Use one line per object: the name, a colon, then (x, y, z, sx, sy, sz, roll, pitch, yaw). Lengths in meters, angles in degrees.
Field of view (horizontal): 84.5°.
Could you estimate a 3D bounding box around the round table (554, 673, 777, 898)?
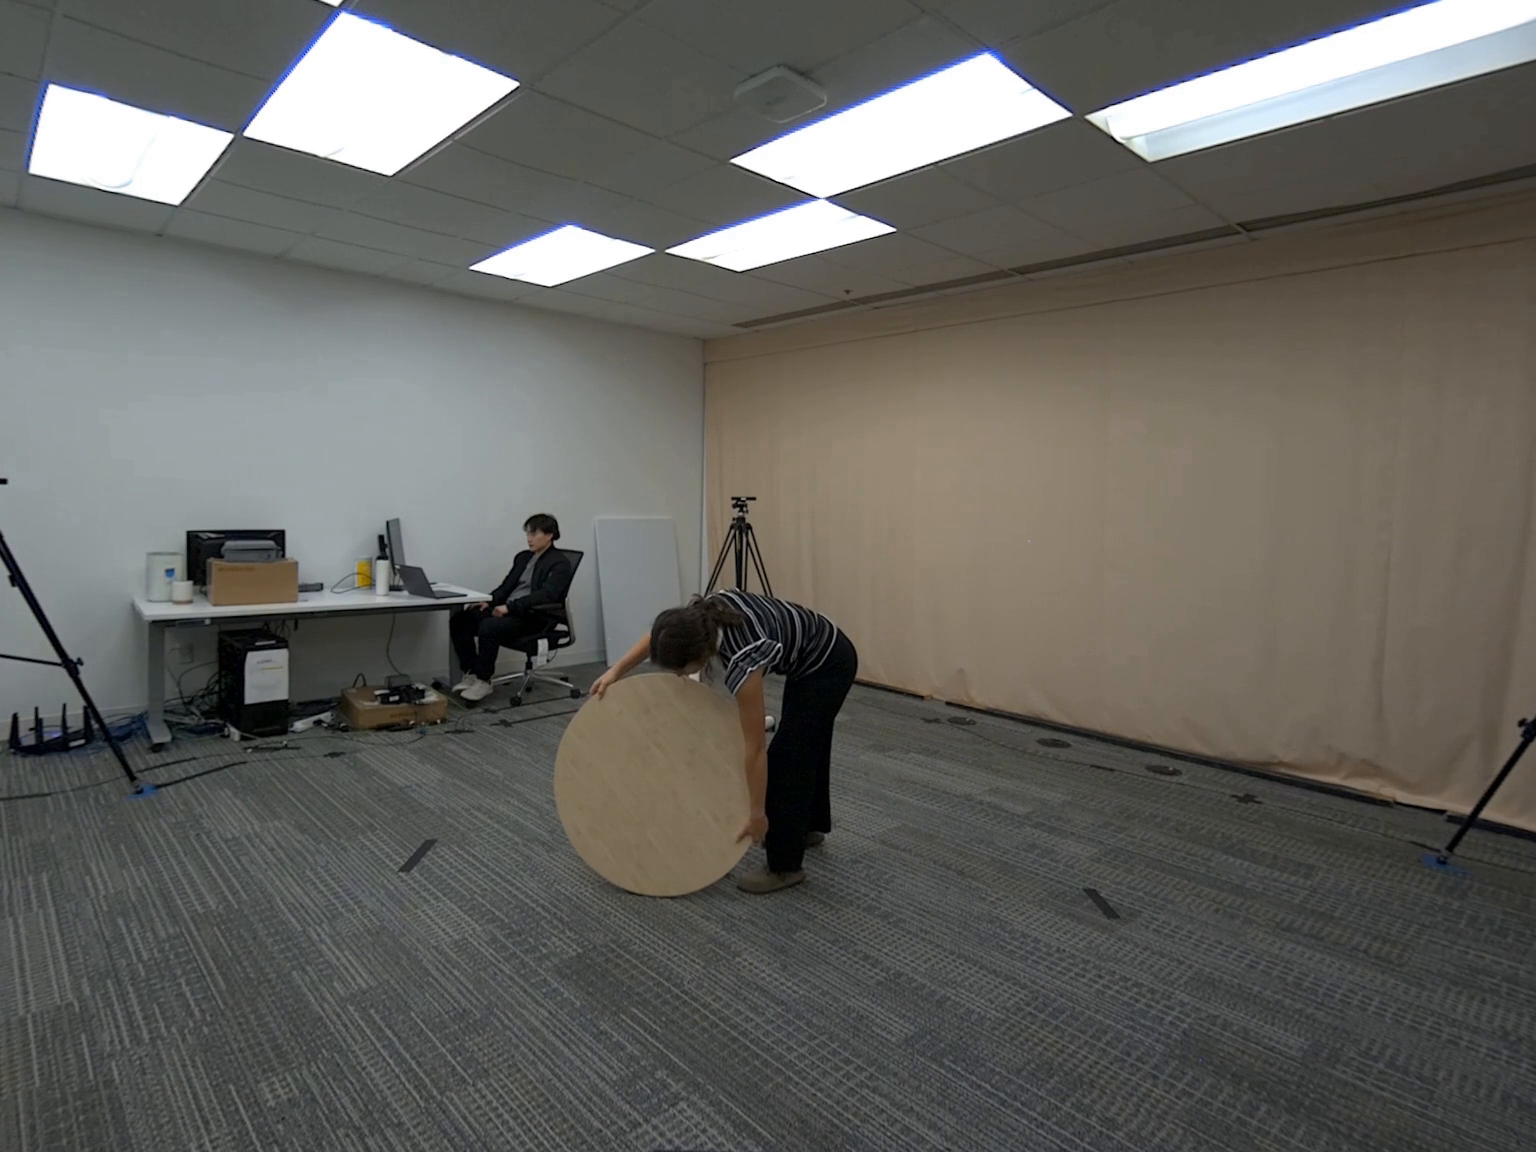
round table: (-0.347, 0.742, 3.342, 0.770, 0.765, 0.786, 2, -2, 8)
